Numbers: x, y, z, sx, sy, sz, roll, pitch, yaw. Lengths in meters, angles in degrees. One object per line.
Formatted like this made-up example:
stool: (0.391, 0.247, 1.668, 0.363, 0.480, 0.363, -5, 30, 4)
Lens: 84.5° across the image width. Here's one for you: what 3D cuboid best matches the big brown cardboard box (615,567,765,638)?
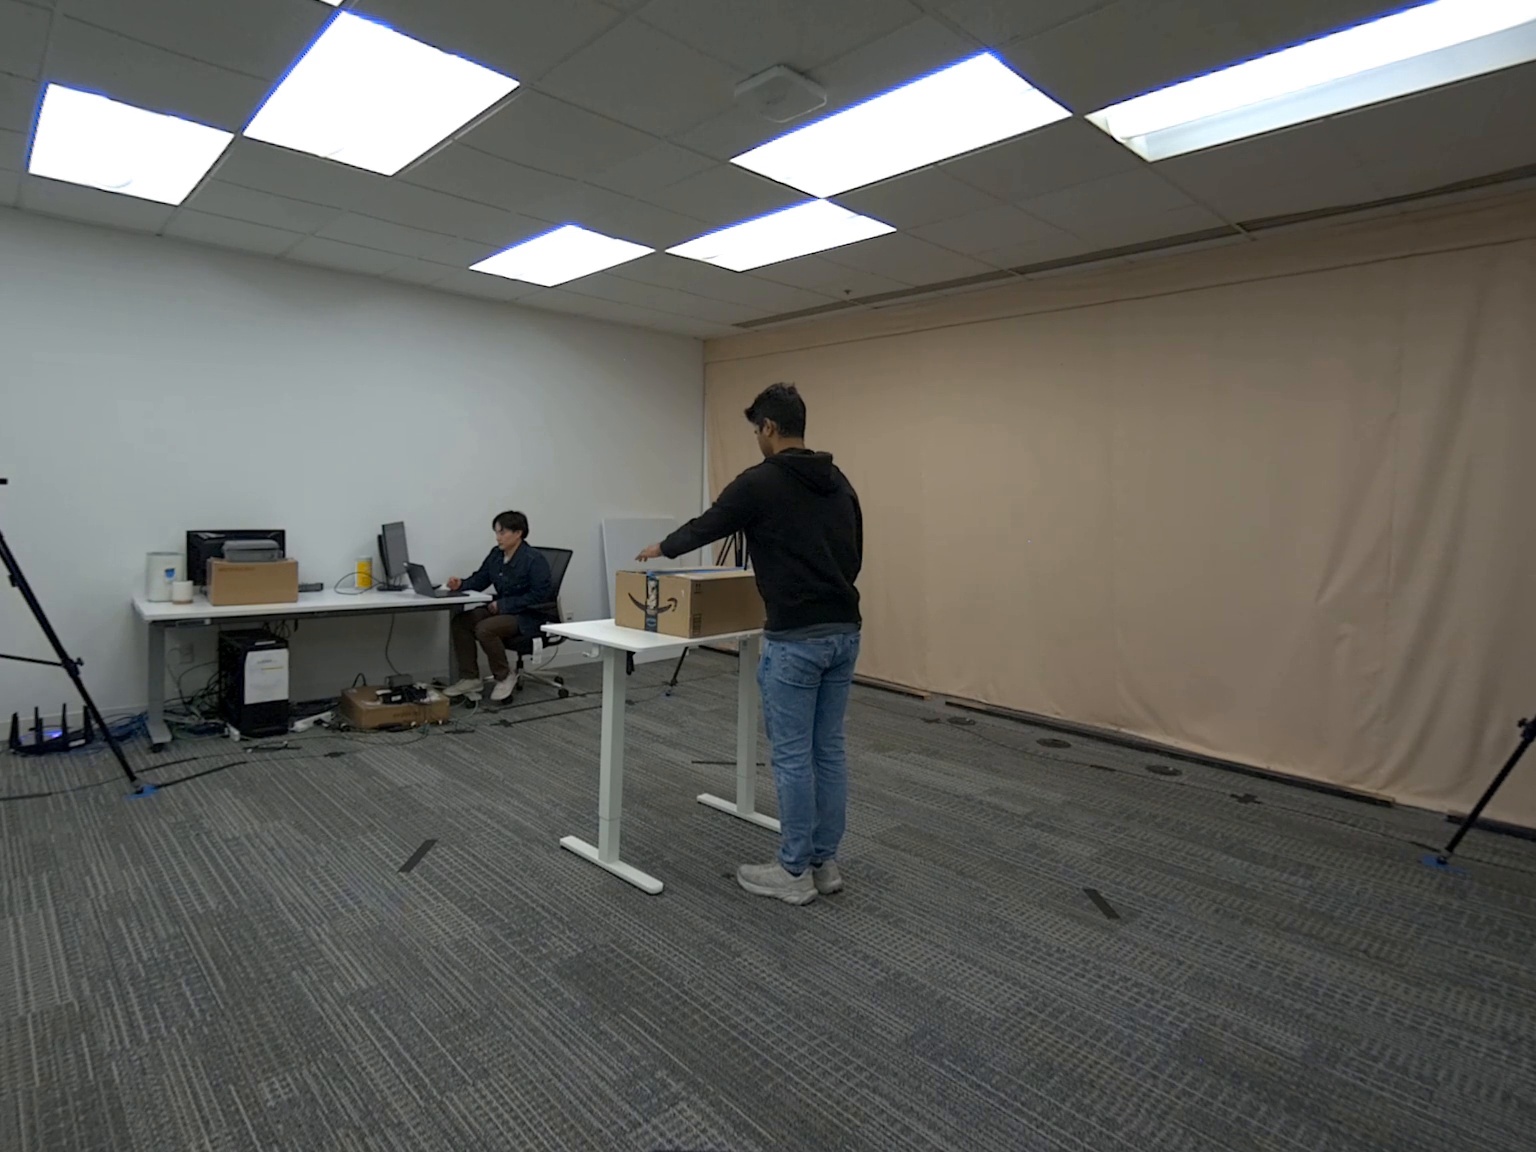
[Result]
big brown cardboard box: (-0.263, 0.089, 3.364, 0.428, 0.232, 0.575, 5, 5, 39)
